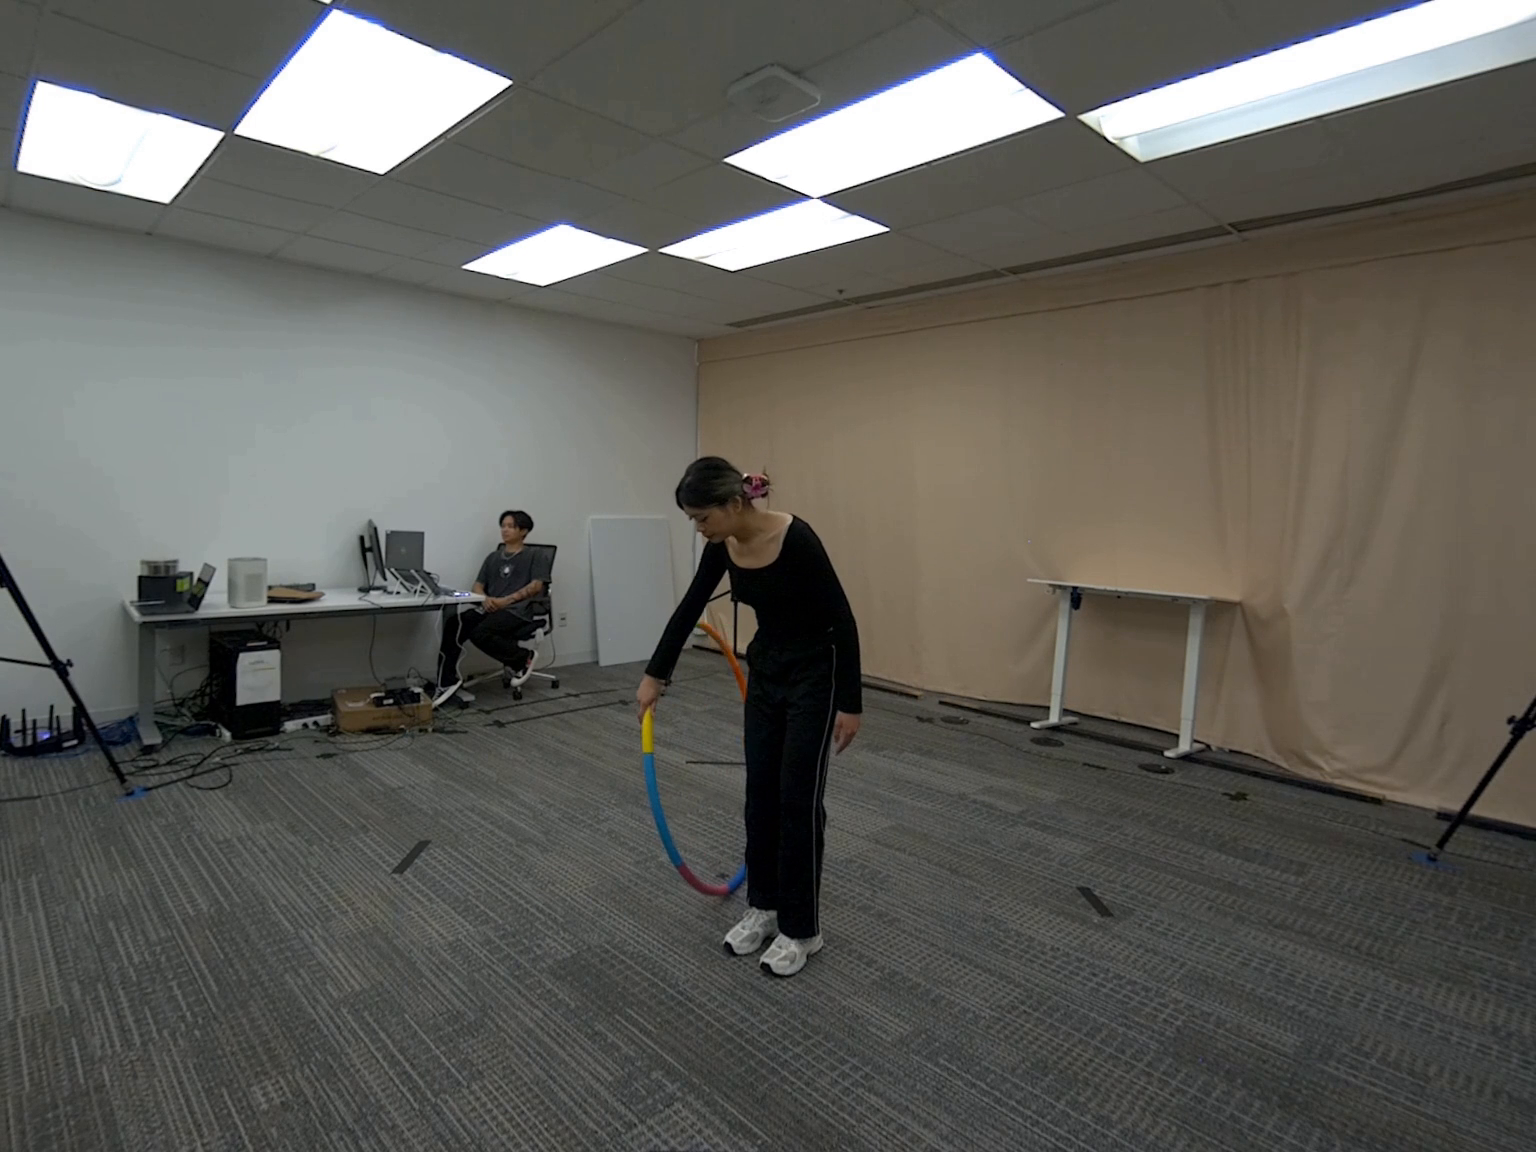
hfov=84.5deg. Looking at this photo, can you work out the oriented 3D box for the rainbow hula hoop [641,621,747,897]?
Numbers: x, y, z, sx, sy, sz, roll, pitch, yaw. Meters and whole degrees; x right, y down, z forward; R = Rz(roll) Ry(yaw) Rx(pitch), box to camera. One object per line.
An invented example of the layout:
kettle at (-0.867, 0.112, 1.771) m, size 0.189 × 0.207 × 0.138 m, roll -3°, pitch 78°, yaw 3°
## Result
rainbow hula hoop at (-0.210, 0.642, 3.075) m, size 0.036 × 0.980 × 0.966 m, roll -14°, pitch -1°, yaw 19°
